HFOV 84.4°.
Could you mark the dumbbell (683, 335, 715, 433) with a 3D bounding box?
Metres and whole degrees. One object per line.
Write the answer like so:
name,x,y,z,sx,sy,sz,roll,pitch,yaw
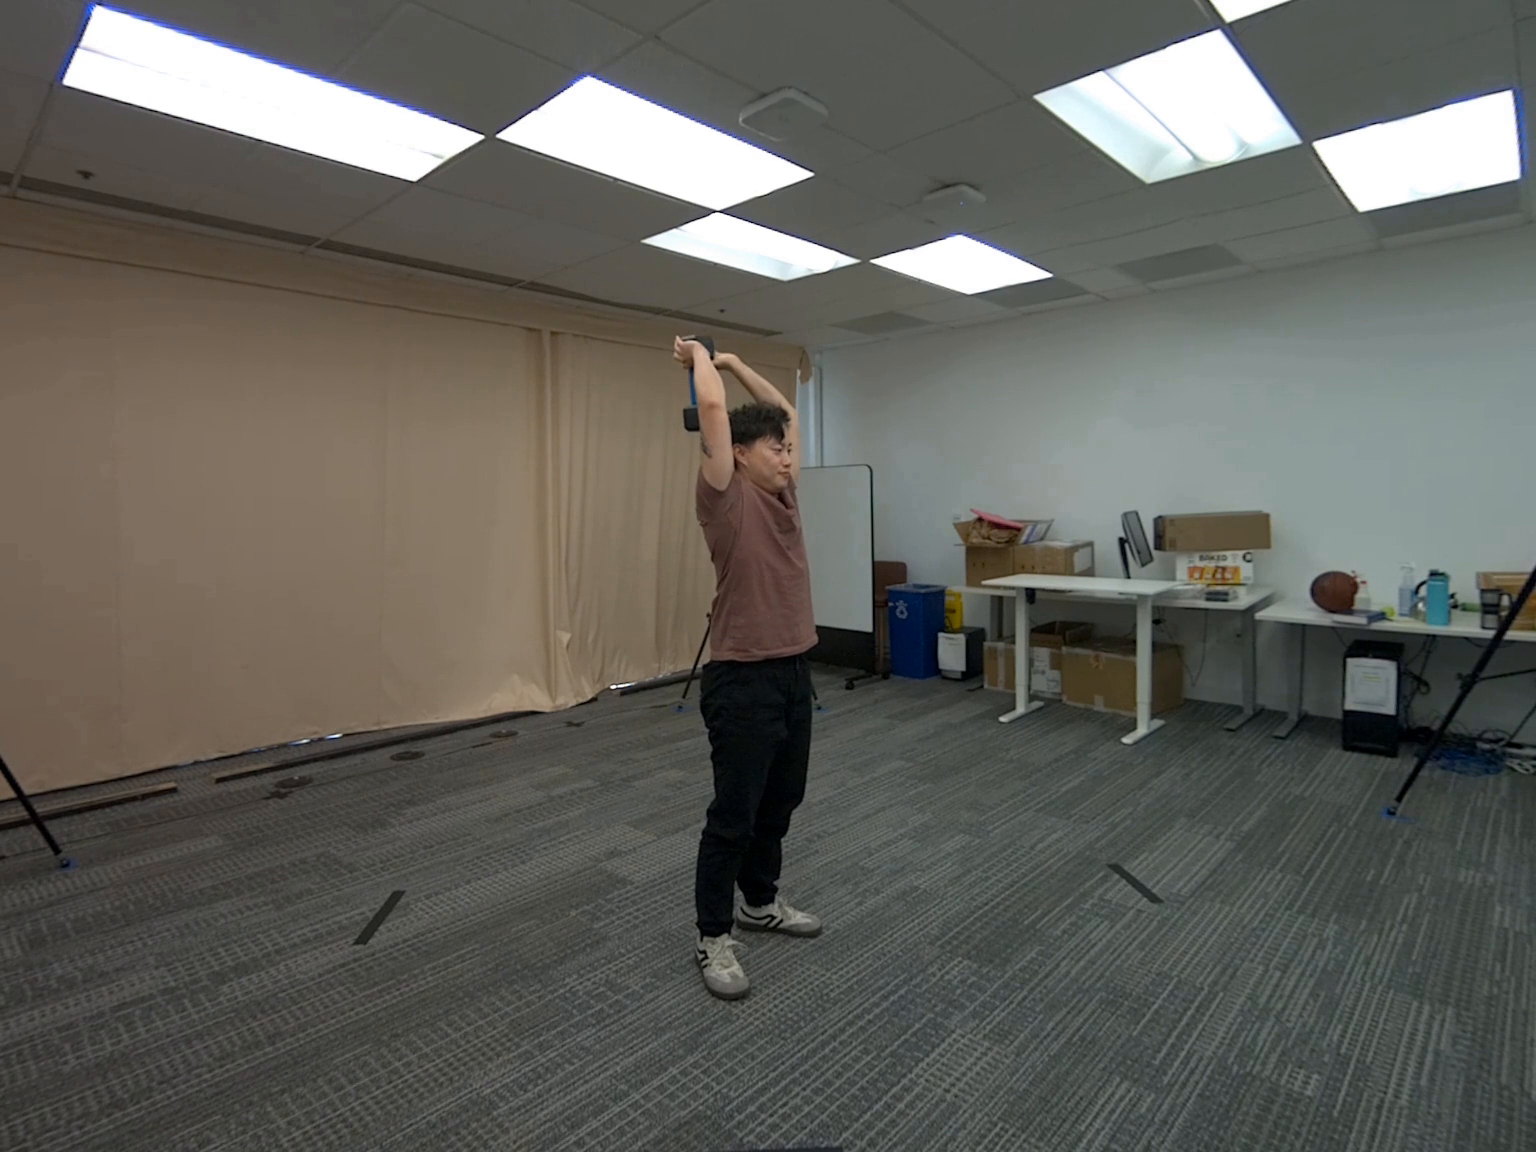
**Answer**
dumbbell,-0.214,-0.601,2.656,0.127,0.292,0.106,4,9,33
